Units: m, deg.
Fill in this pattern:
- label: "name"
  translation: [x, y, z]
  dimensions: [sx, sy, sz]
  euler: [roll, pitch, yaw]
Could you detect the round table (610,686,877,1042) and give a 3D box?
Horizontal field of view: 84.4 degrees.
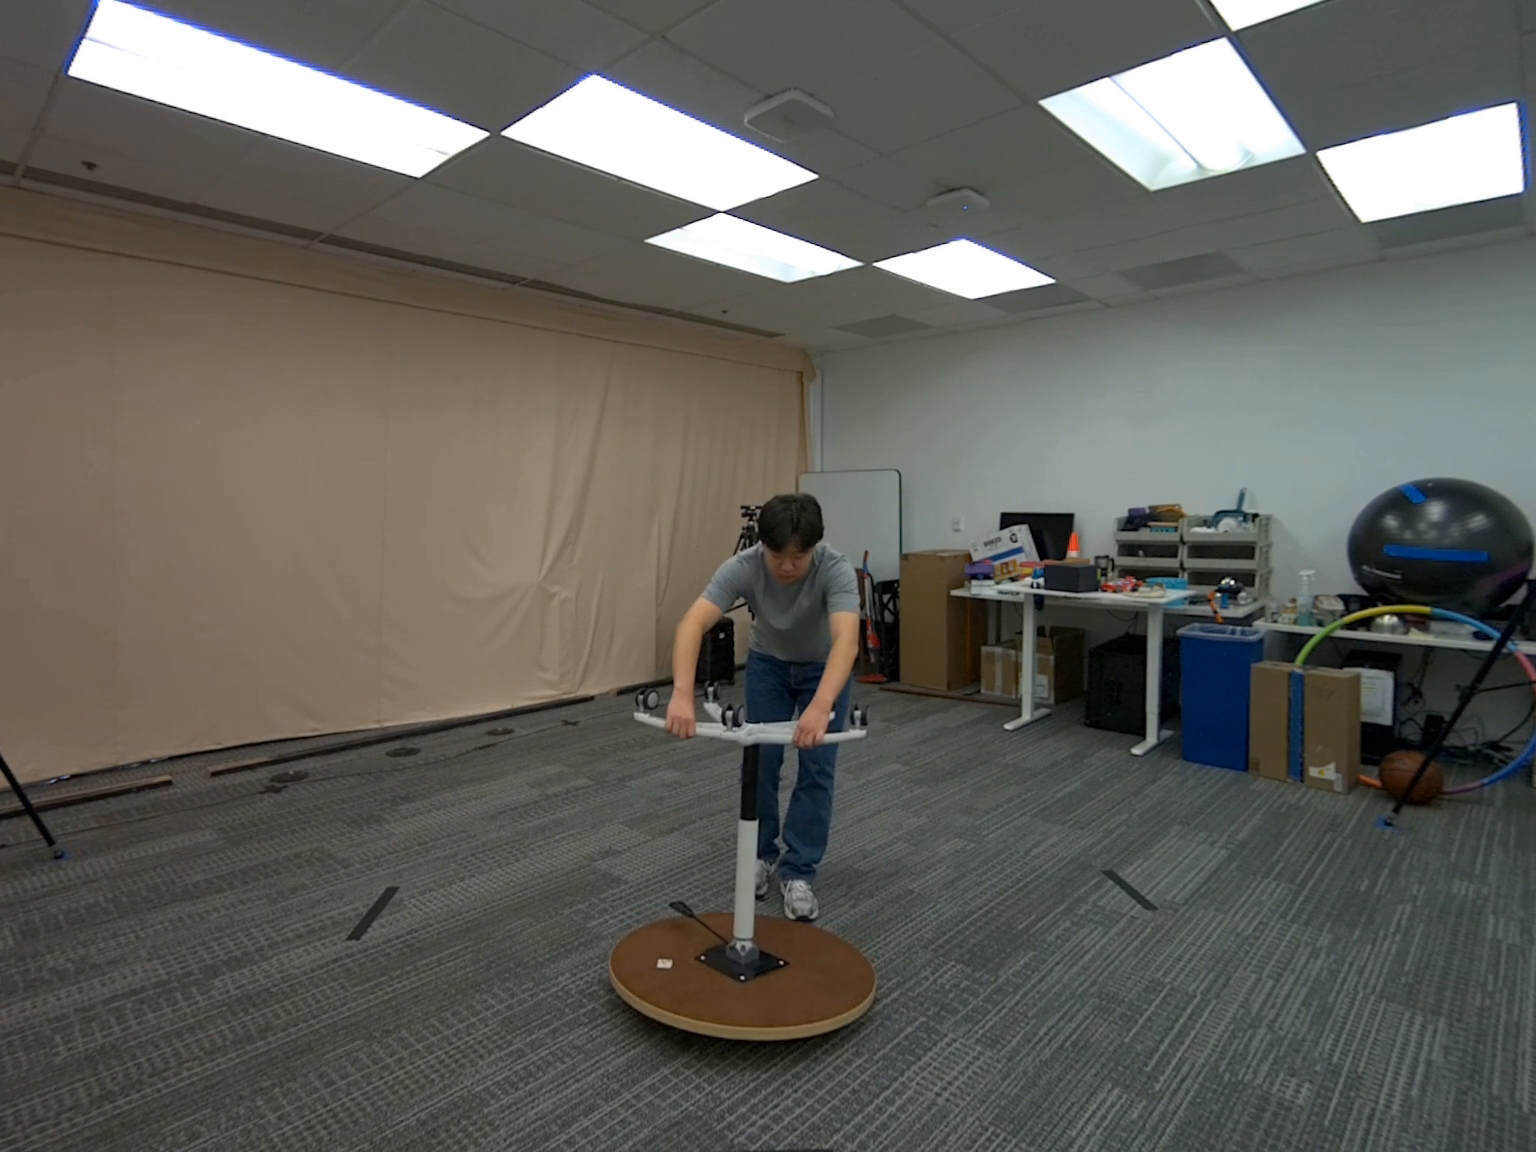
- label: "round table"
  translation: [-0.063, 0.752, 2.469]
  dimensions: [0.763, 0.795, 0.763]
  euler: [3, -3, -2]
